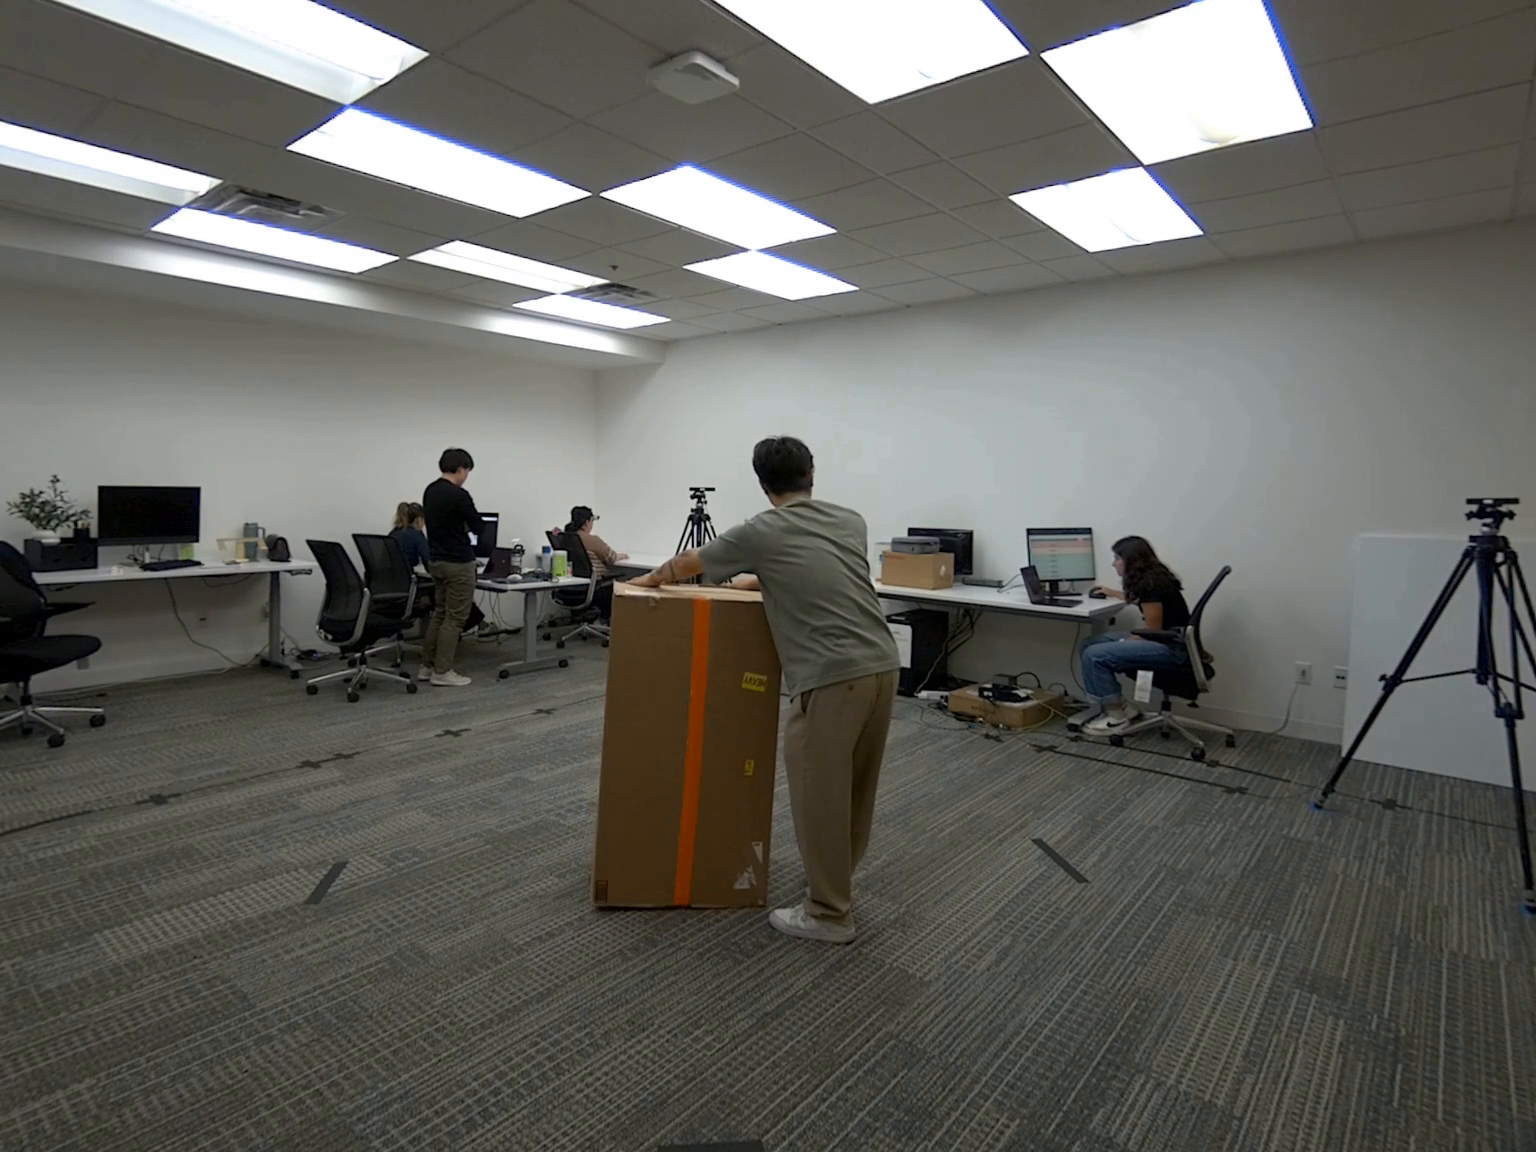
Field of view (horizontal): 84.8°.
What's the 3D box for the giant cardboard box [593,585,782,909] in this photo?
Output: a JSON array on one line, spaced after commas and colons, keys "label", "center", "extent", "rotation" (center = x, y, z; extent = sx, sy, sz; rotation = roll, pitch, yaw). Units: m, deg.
[{"label": "giant cardboard box", "center": [-0.305, 0.558, 2.982], "extent": [0.573, 1.024, 0.431], "rotation": [3, 2, -8]}]
